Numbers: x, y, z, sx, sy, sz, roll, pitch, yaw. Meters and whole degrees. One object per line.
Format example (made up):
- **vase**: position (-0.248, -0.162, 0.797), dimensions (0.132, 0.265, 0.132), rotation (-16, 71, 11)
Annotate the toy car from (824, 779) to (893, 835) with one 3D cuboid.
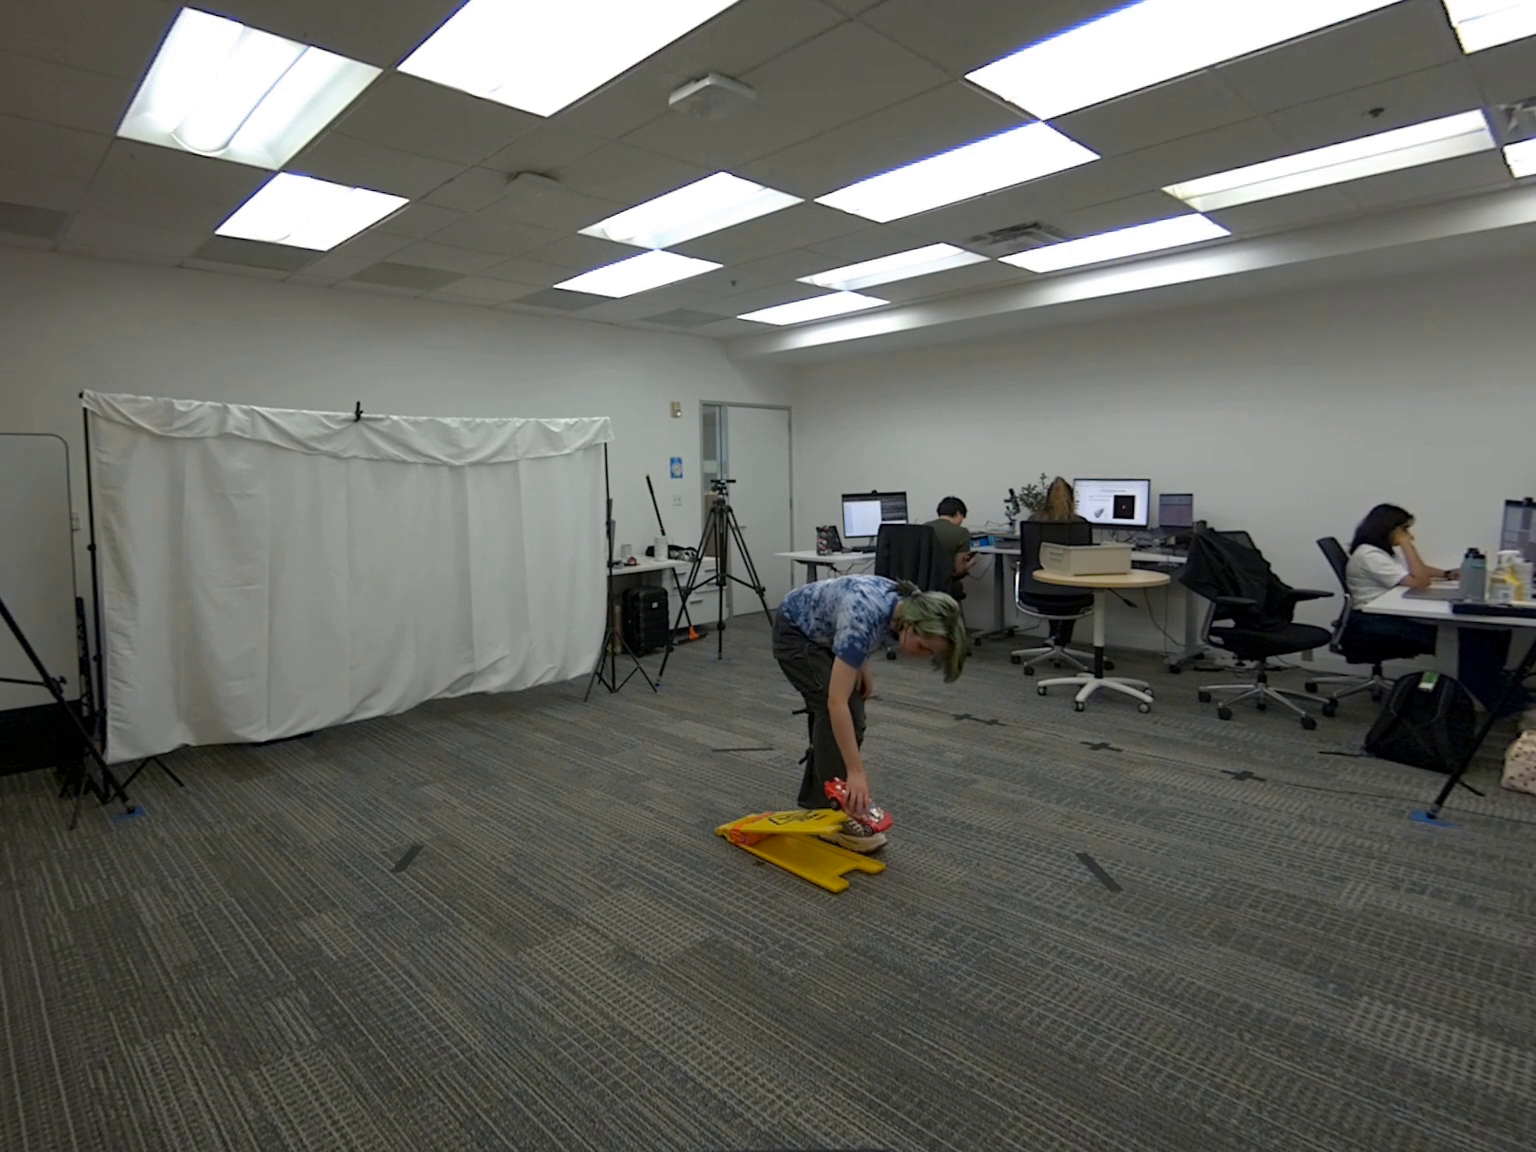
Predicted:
- **toy car**: position (0.309, 0.804, 2.945), dimensions (0.127, 0.082, 0.264), rotation (-10, 41, -45)
